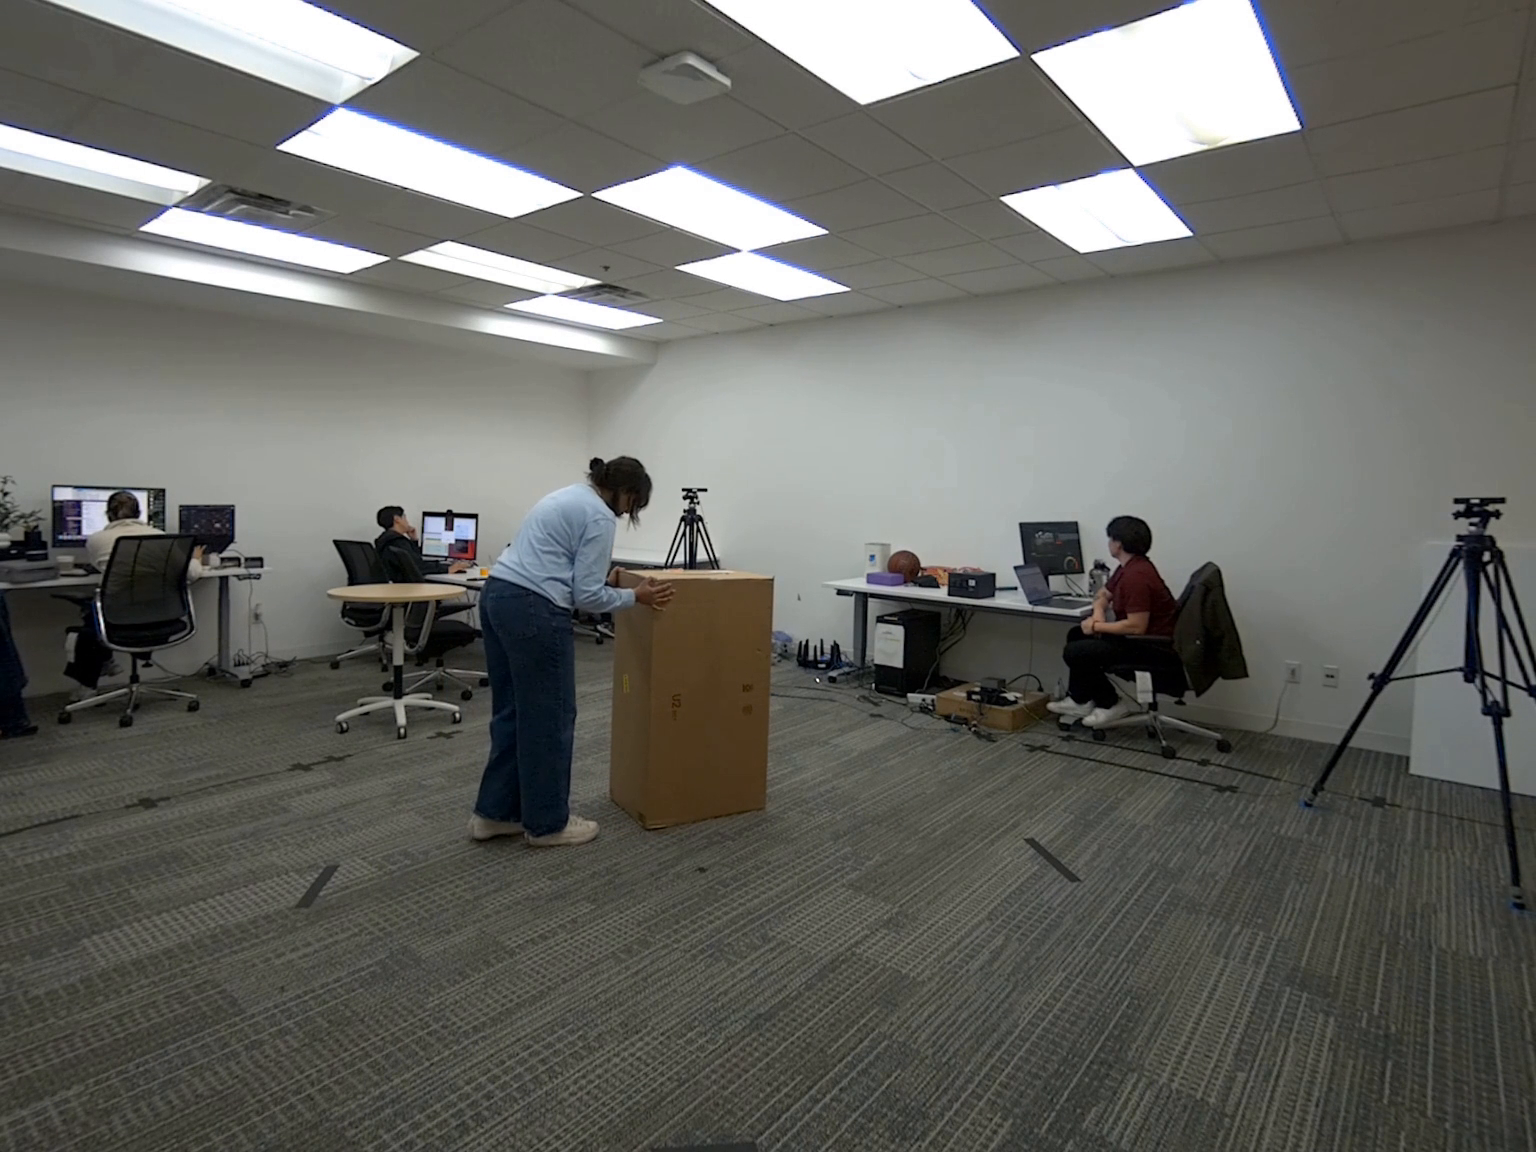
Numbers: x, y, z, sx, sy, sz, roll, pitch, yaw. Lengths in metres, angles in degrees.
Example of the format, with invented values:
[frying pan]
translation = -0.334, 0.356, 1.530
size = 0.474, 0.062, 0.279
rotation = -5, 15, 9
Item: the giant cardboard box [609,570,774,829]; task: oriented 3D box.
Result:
[giant cardboard box]
translation = -0.353, 0.500, 3.753
size = 0.562, 1.023, 0.439
rotation = 0, 3, -31
